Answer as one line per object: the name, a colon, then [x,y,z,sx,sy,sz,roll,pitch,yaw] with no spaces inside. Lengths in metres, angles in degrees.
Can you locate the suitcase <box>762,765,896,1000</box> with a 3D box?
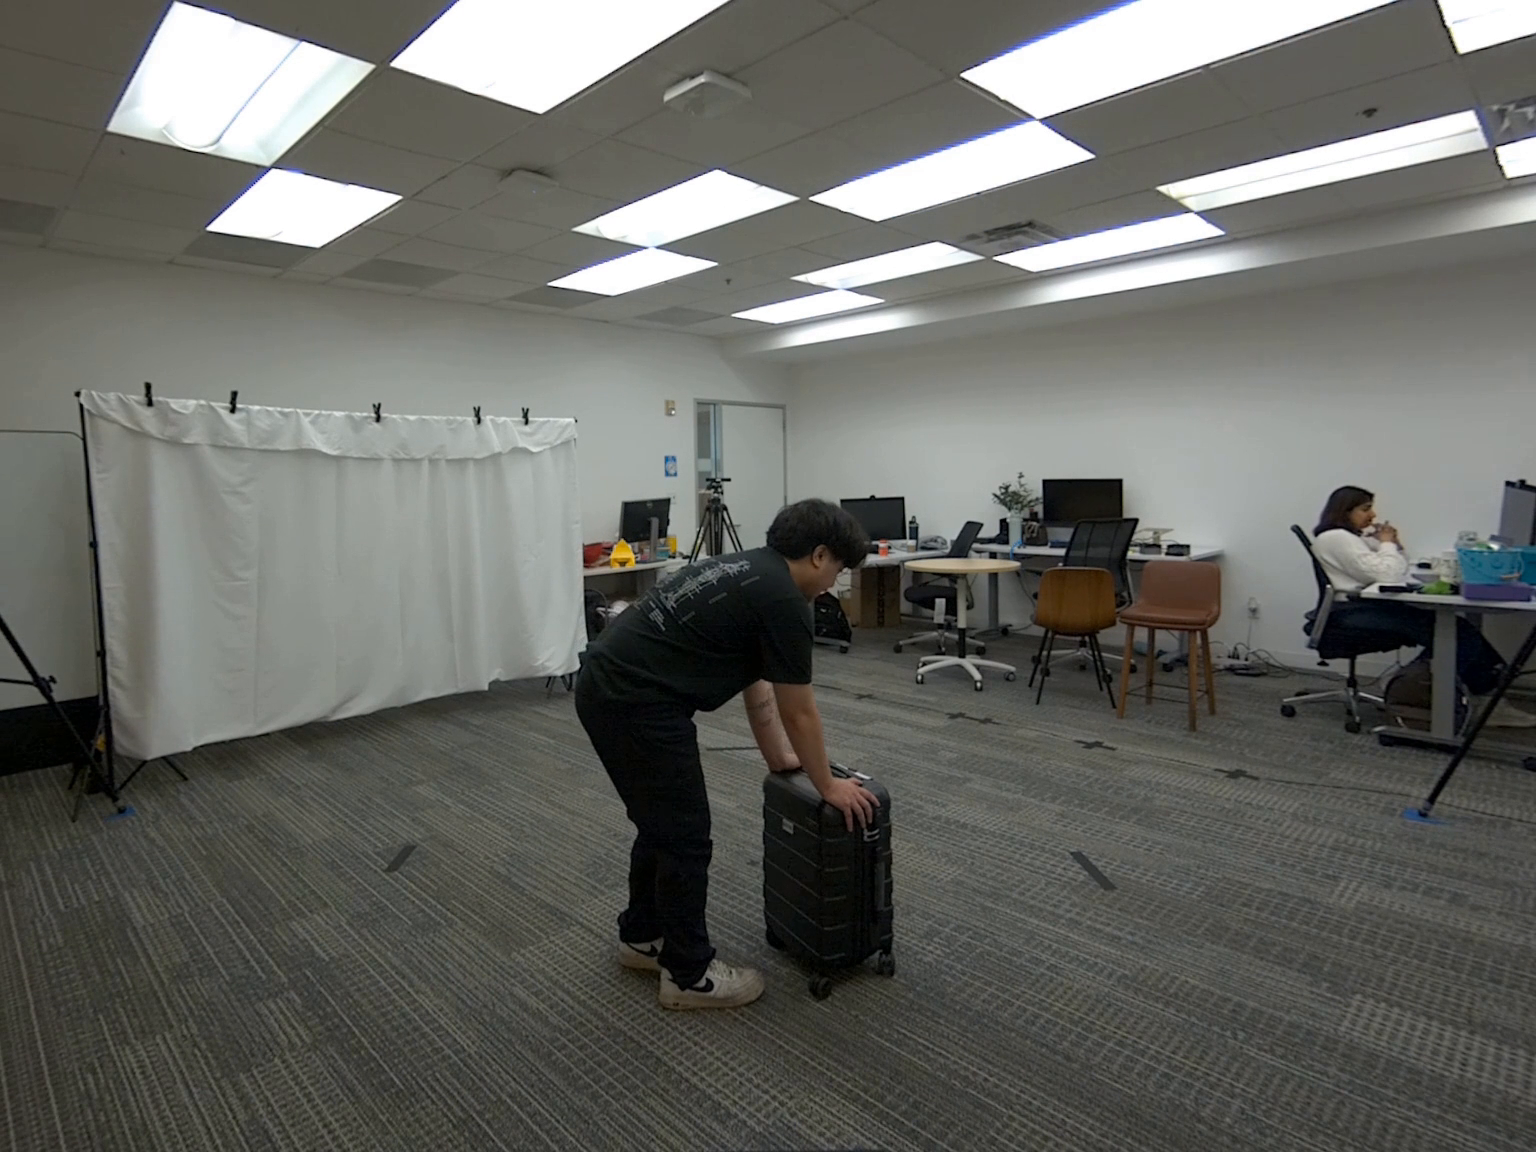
suitcase: [0.176,0.836,2.485,0.242,0.547,0.386,-4,4,-32]
